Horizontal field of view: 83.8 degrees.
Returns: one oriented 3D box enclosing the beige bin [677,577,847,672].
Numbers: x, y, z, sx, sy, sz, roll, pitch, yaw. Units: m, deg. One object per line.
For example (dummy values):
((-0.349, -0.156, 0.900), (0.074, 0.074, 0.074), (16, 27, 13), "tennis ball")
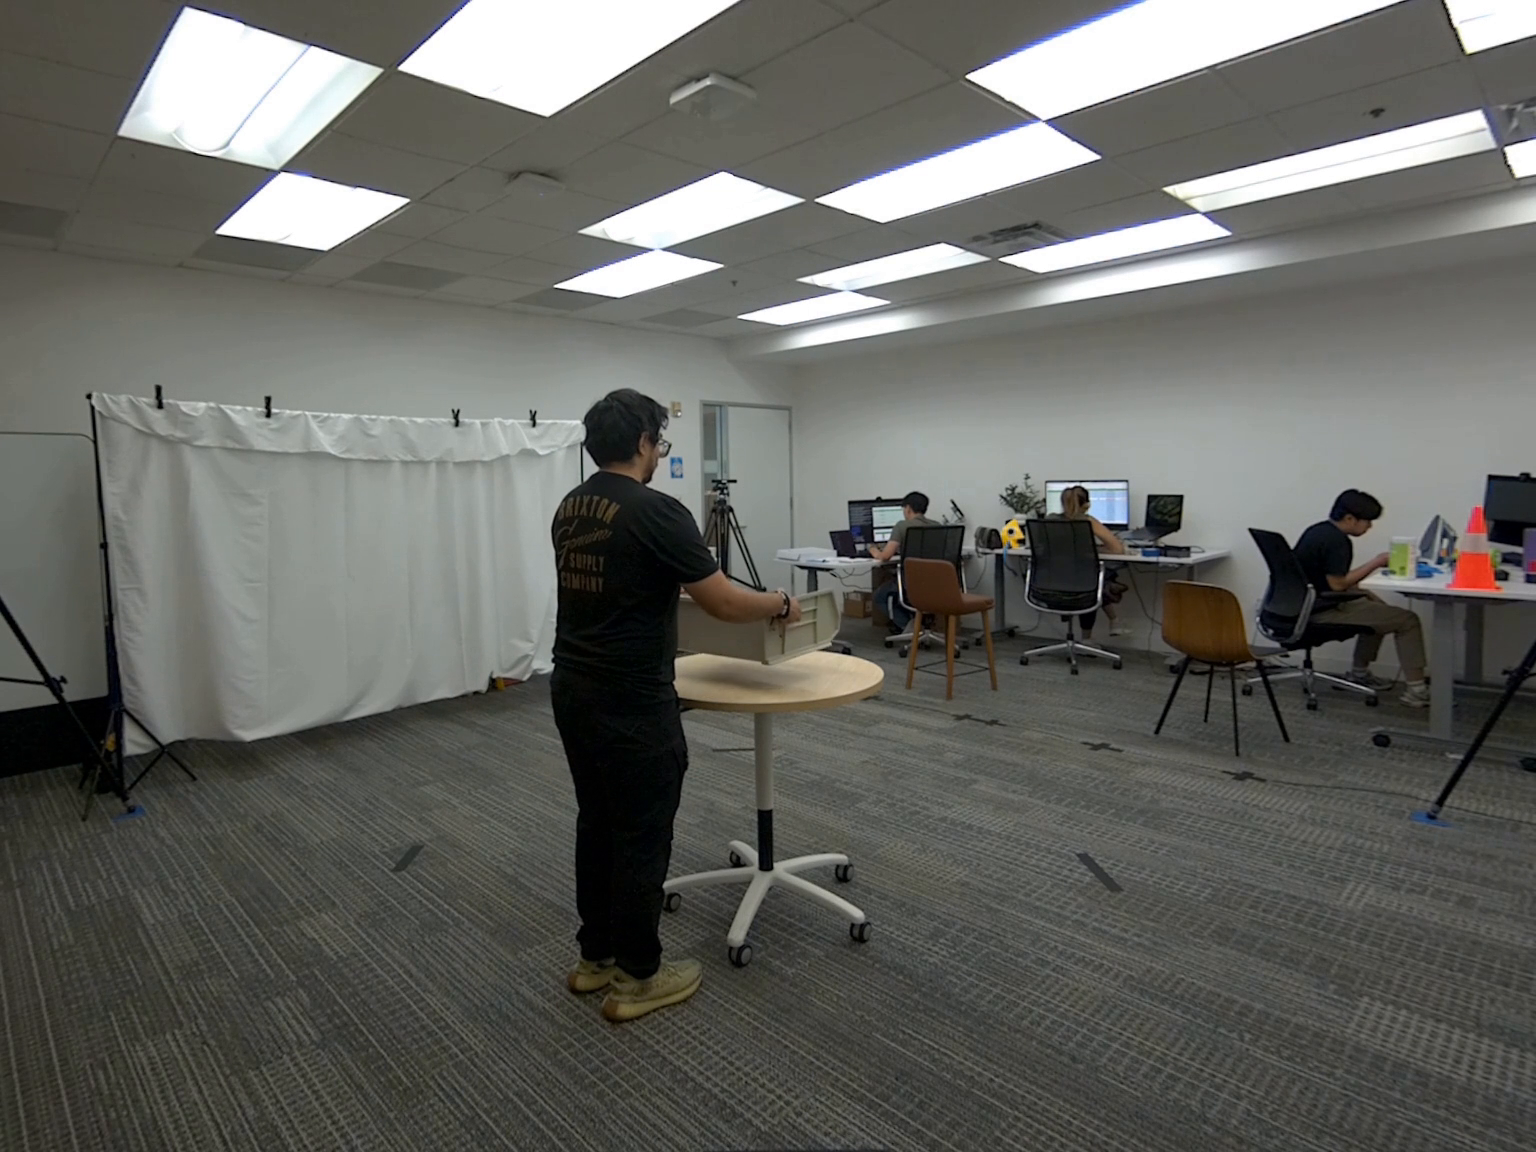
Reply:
((-0.044, 0.134, 2.676), (0.435, 0.188, 0.369), (3, 10, 40), "beige bin")
